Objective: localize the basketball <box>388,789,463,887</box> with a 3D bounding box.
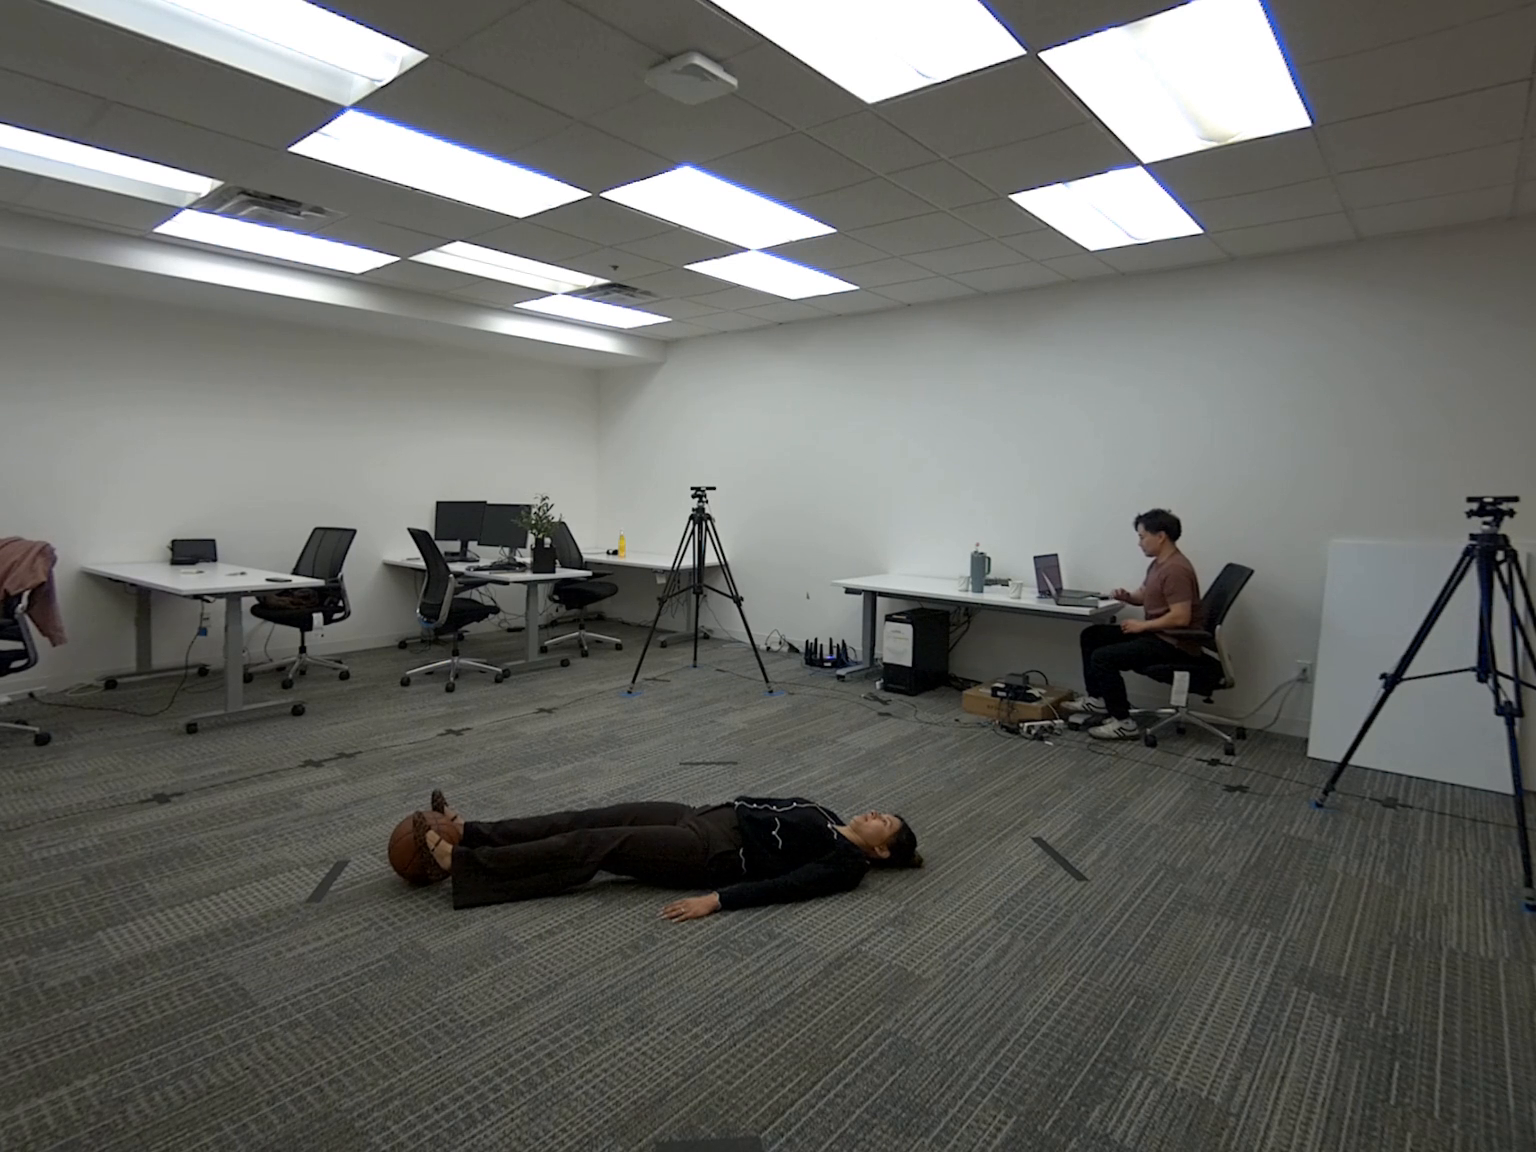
[{"bbox_3d":[-1.208,0.937,2.981,0.236,0.234,0.238,0,7,-2],"label":"basketball"}]
